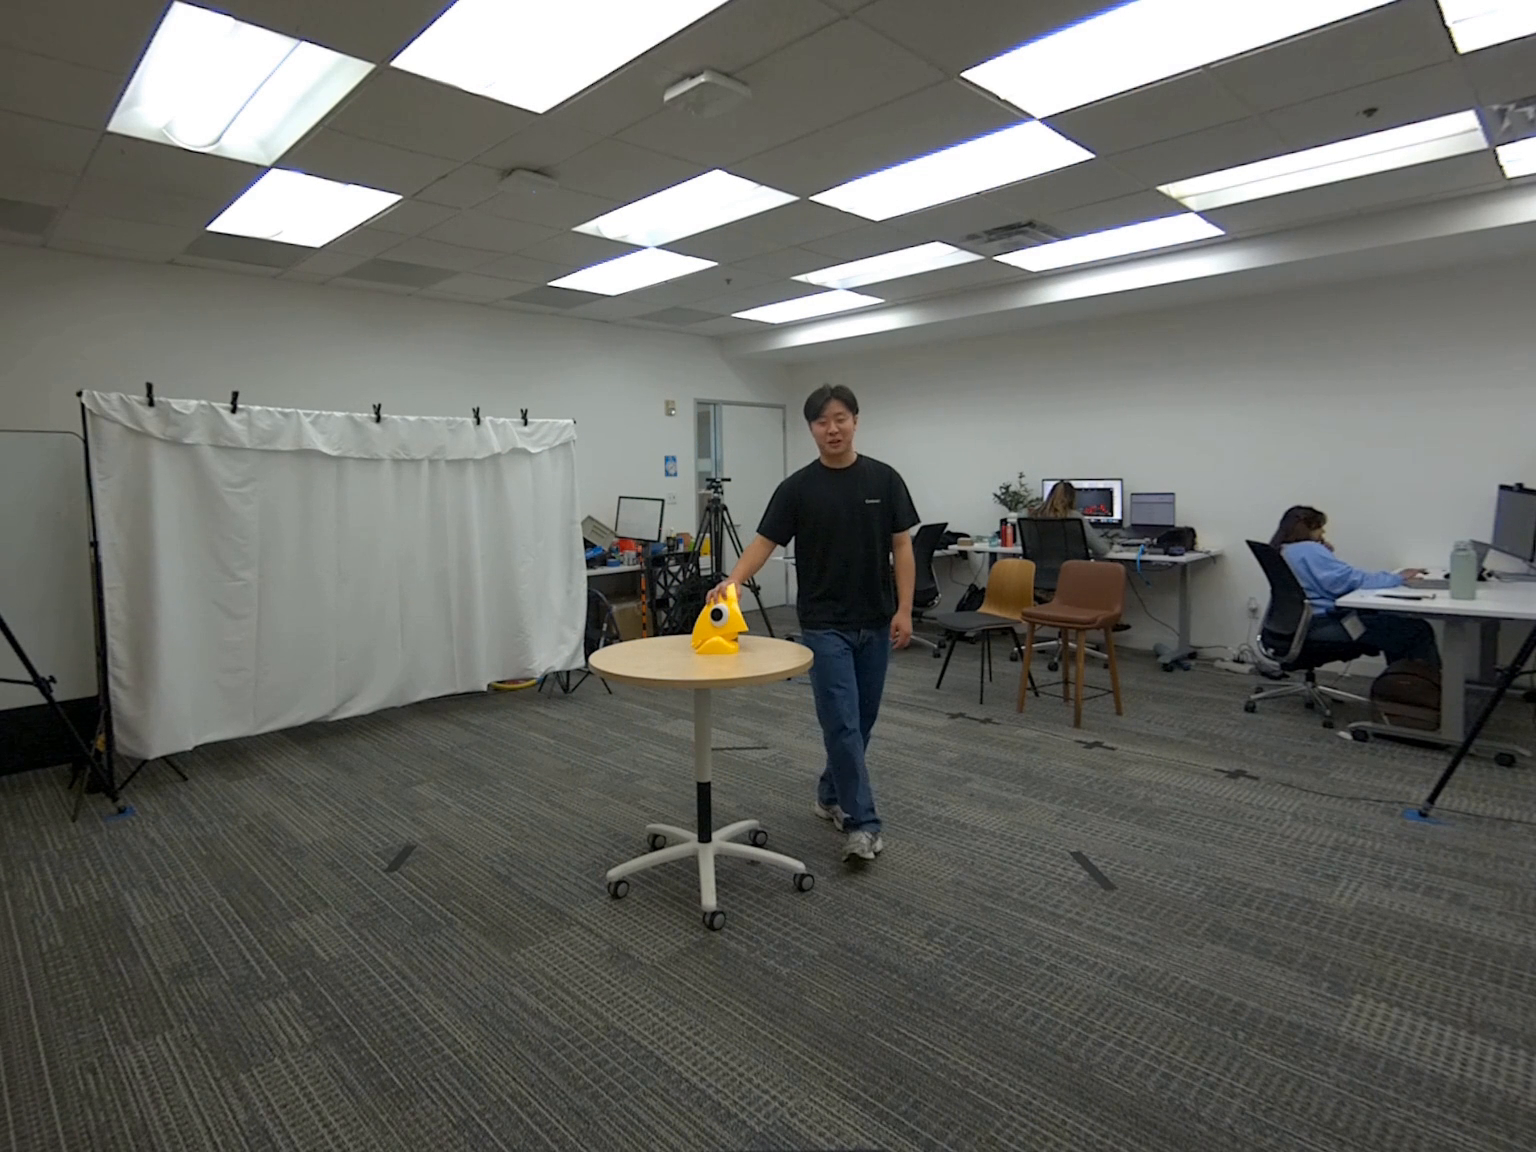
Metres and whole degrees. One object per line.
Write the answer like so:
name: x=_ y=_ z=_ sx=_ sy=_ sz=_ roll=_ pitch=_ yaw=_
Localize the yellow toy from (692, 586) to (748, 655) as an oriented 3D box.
yellow toy: x=-0.177 y=0.144 z=3.015 sx=0.191 sy=0.229 sz=0.208 roll=-1 pitch=7 yaw=-11
